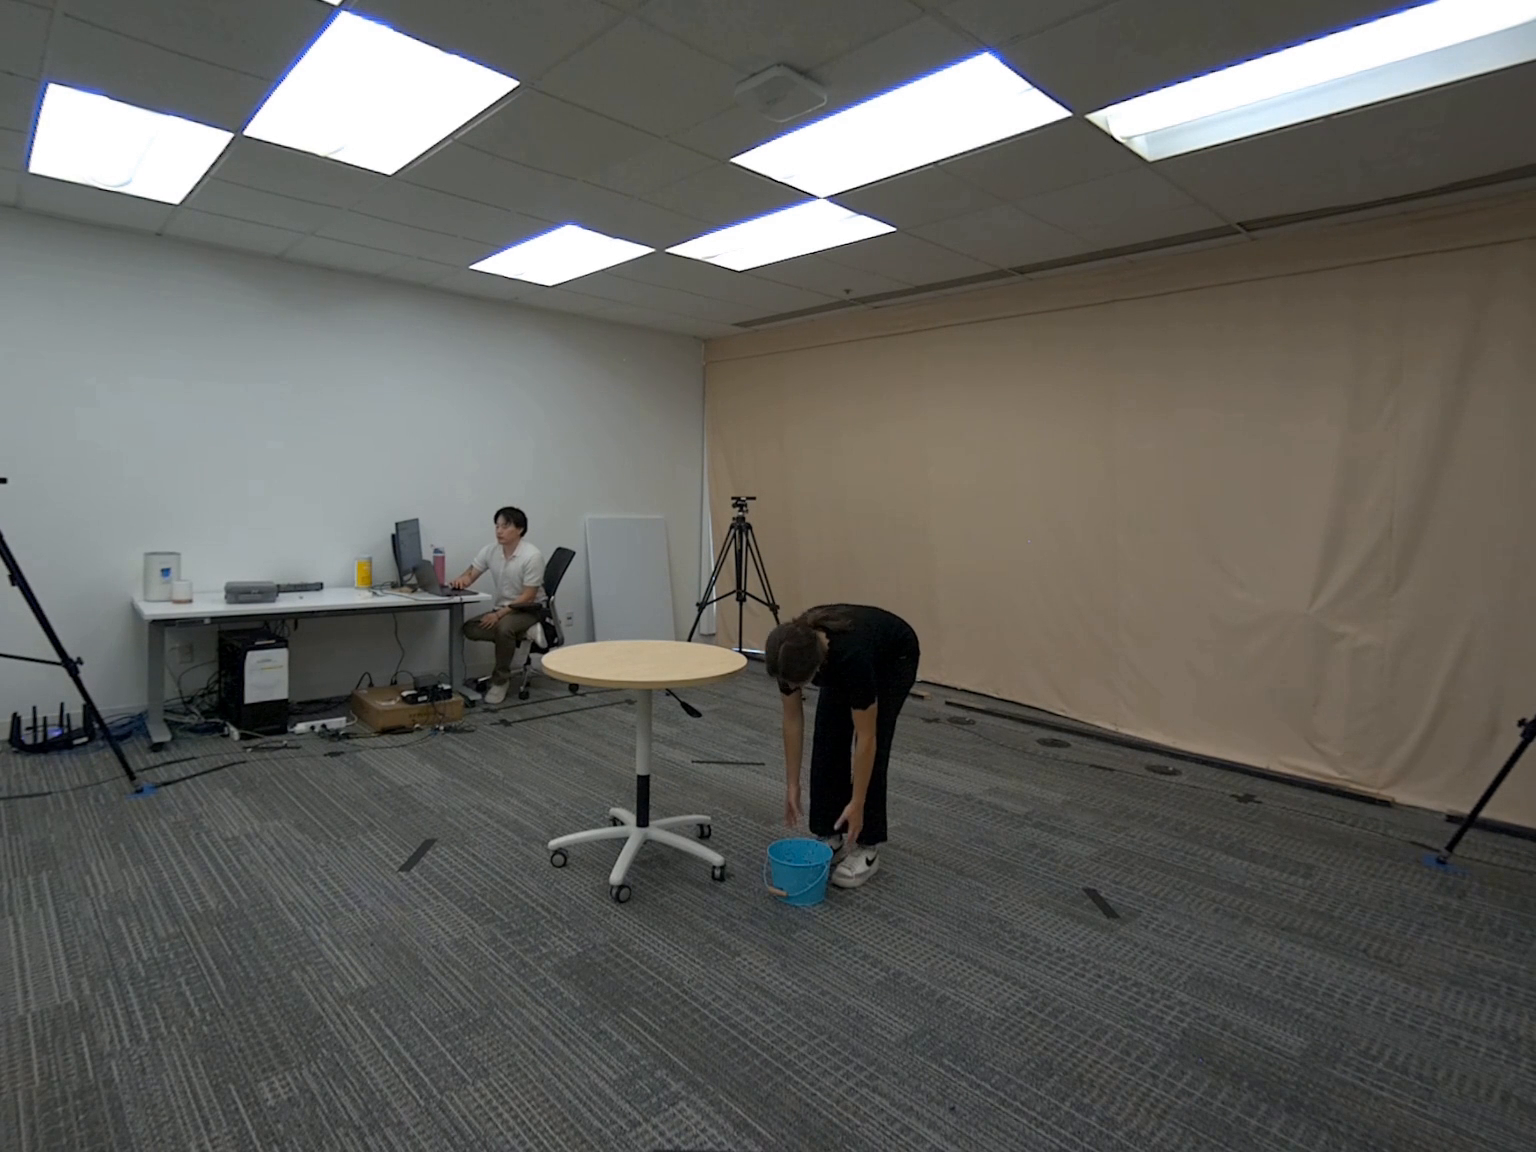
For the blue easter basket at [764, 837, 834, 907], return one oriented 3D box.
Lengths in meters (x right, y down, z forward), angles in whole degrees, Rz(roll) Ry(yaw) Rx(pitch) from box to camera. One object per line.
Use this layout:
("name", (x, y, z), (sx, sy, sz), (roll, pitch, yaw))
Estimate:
("blue easter basket", (0.099, 1.042, 2.973), (0.243, 0.155, 0.244), (2, 4, -1))
